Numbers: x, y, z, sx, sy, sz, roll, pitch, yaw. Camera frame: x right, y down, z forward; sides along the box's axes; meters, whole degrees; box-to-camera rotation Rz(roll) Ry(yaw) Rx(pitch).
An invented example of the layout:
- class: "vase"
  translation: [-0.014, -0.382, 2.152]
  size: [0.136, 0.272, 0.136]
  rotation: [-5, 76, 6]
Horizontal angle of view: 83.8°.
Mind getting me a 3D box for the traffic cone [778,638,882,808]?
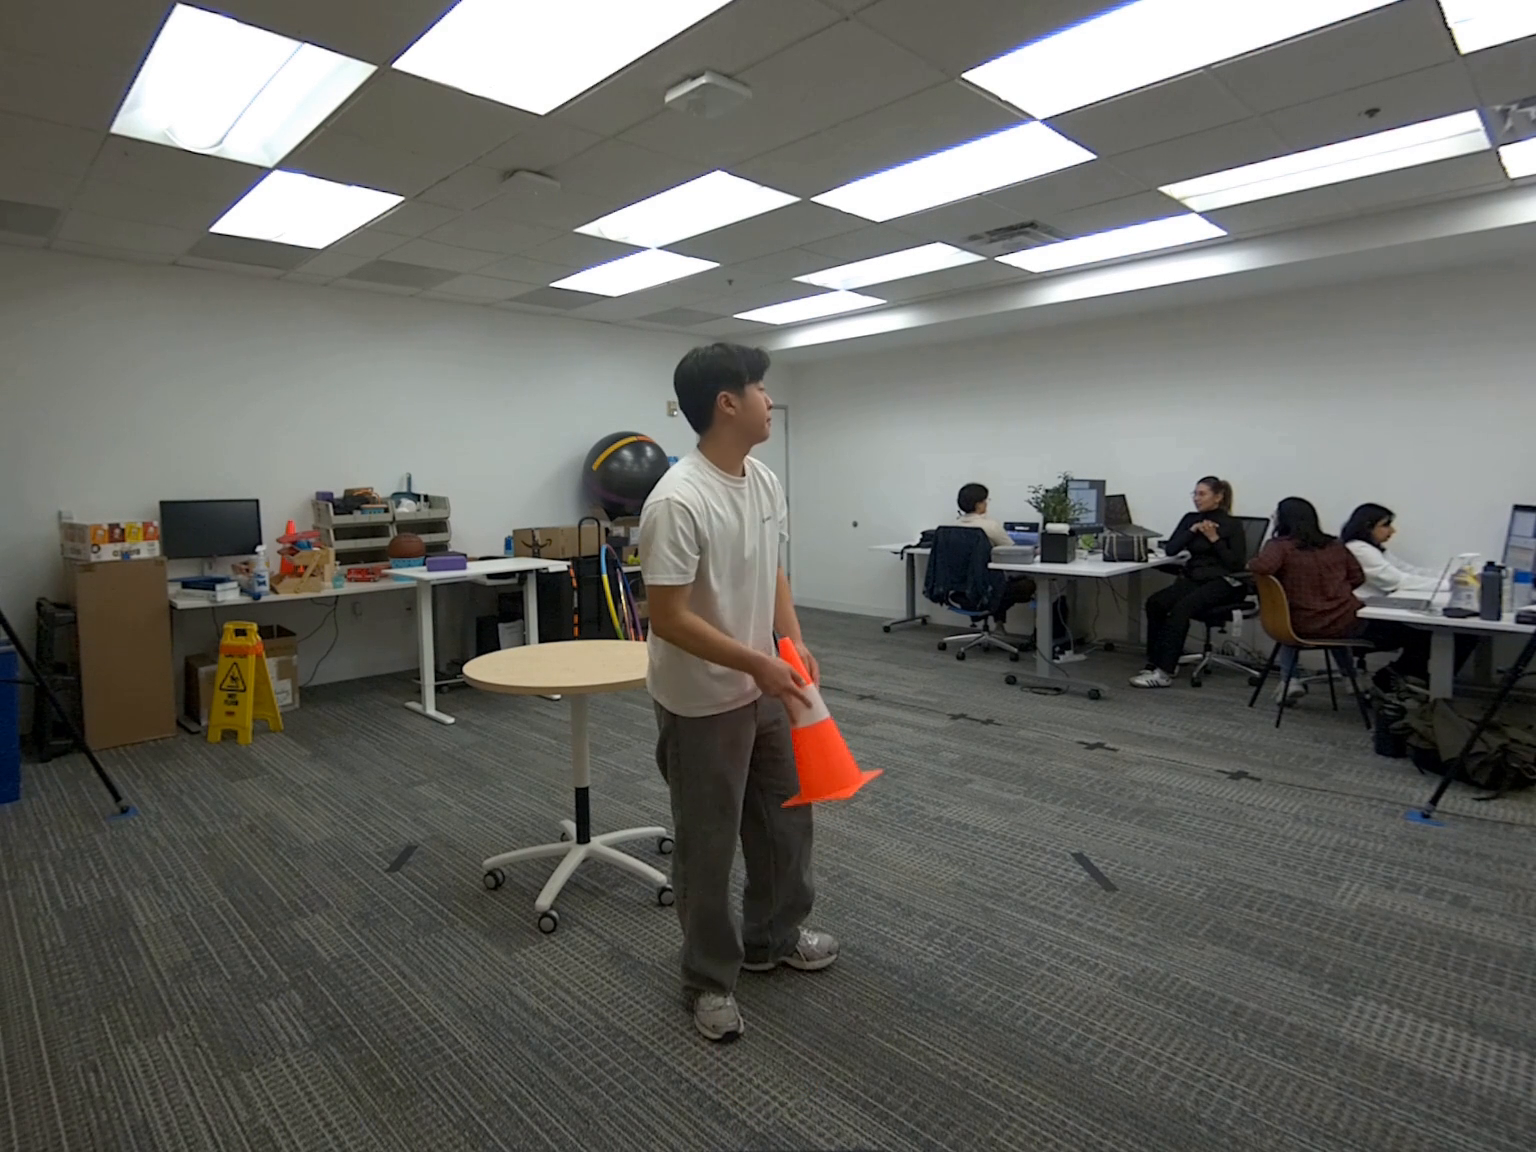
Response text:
- class: "traffic cone"
  translation: [0.105, 0.339, 2.121]
  size: [0.200, 0.387, 0.207]
  rotation: [-8, -9, -46]
